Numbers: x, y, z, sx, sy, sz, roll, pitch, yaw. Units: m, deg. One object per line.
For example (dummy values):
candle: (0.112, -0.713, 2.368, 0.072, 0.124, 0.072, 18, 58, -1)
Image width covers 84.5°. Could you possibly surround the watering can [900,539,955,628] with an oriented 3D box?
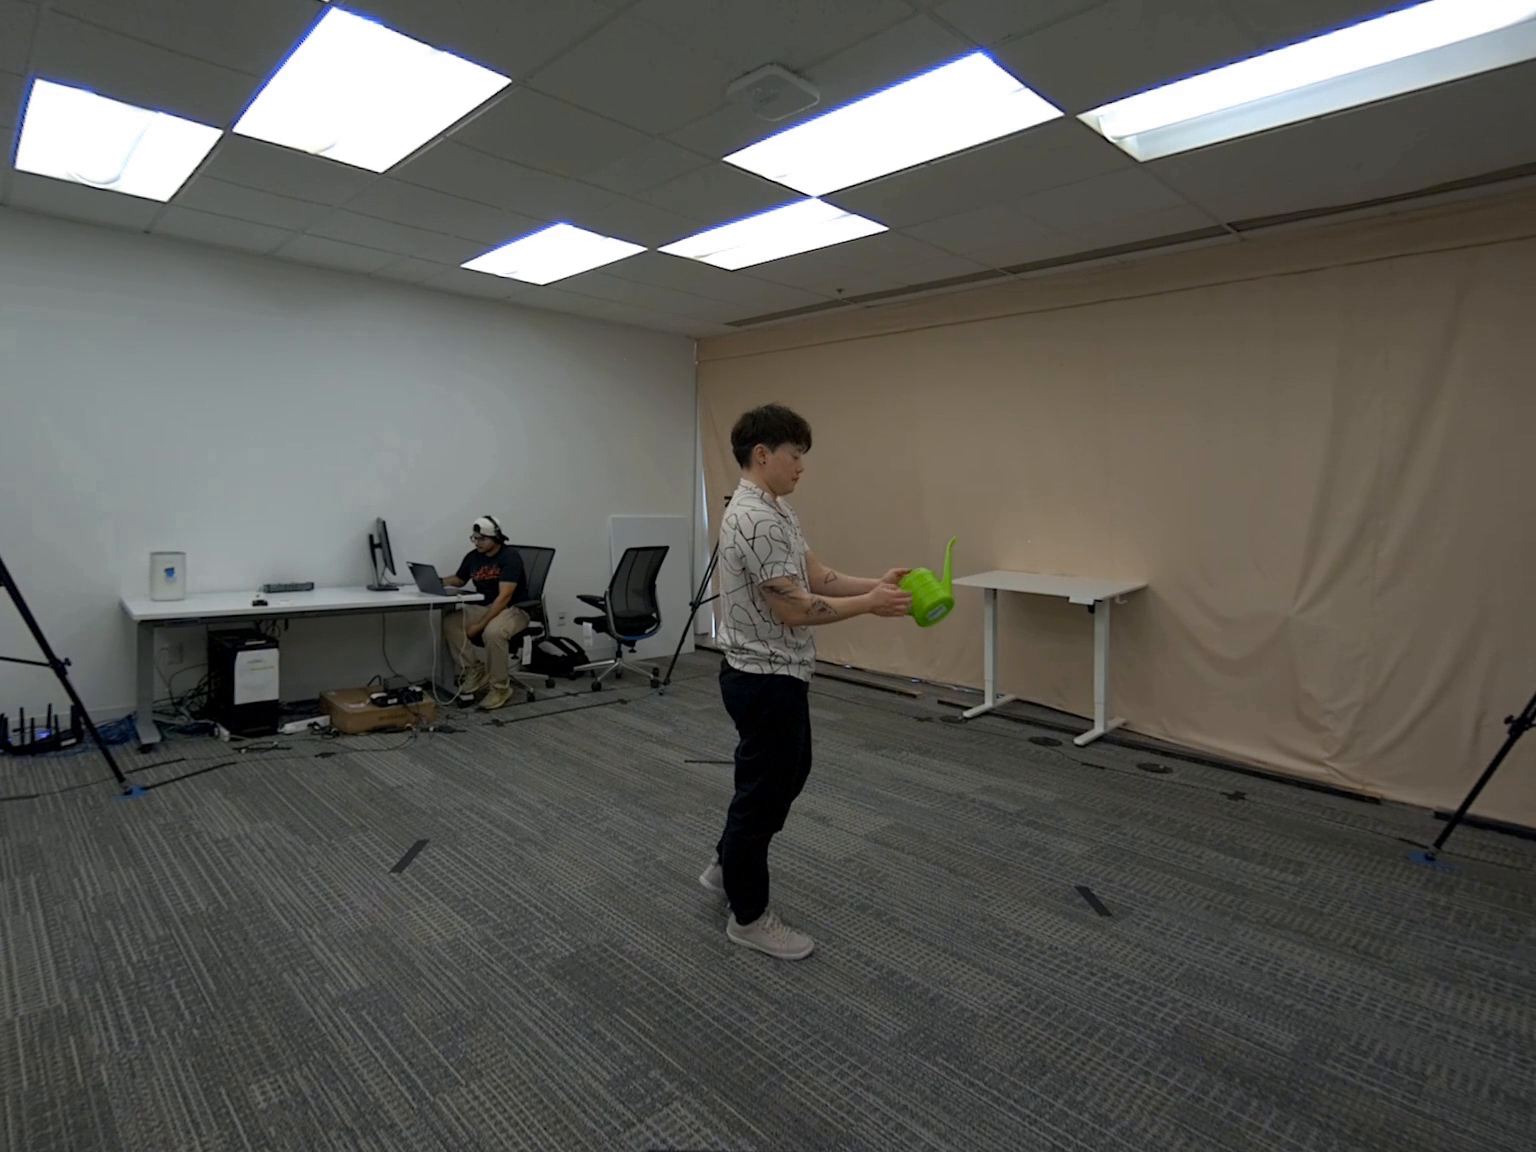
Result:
watering can: (0.482, 0.023, 2.521, 0.095, 0.278, 0.182, 24, 22, -40)
